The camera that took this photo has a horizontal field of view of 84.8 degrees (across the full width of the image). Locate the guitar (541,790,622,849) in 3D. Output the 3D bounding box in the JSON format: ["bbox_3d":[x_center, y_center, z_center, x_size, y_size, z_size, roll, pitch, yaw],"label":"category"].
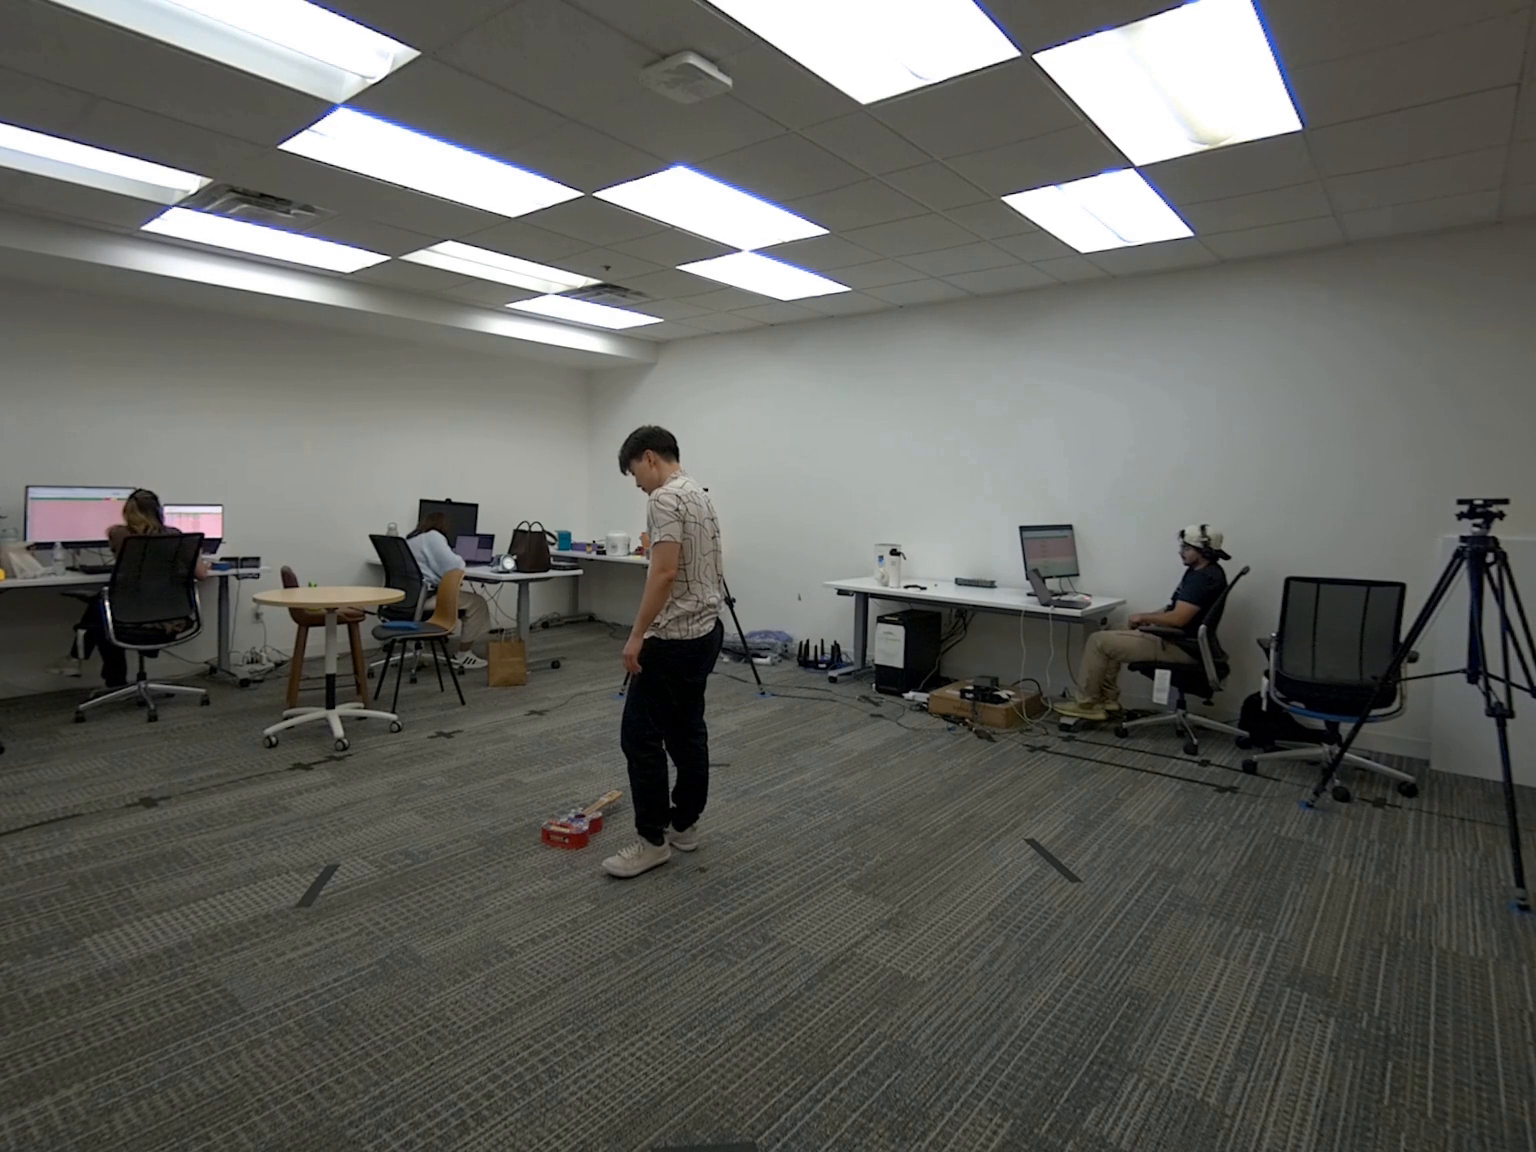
[{"bbox_3d":[-0.722,0.989,3.498,0.198,0.070,0.486,4,6,28],"label":"guitar"}]
